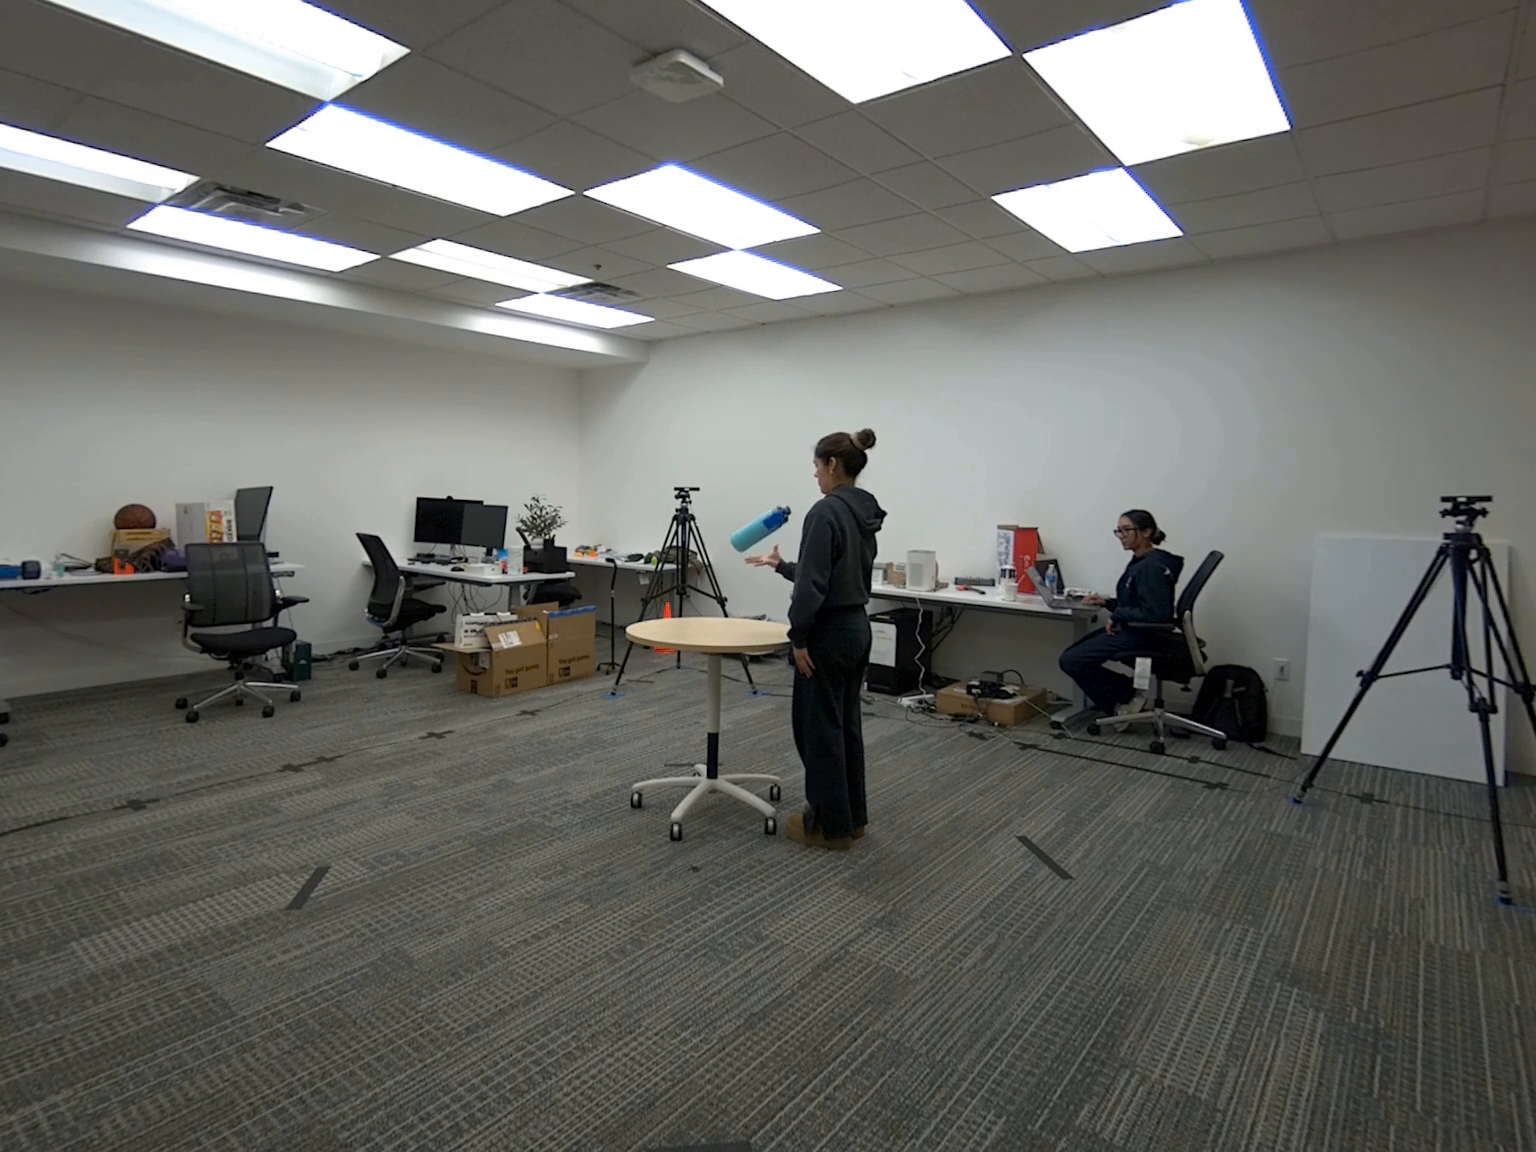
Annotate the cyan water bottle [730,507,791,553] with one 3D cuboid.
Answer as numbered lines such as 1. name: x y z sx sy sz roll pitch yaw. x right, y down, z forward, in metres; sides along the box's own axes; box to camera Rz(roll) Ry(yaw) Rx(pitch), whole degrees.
1. cyan water bottle: -0.034 -0.180 3.607 0.285 0.094 0.090 -35 -13 26
